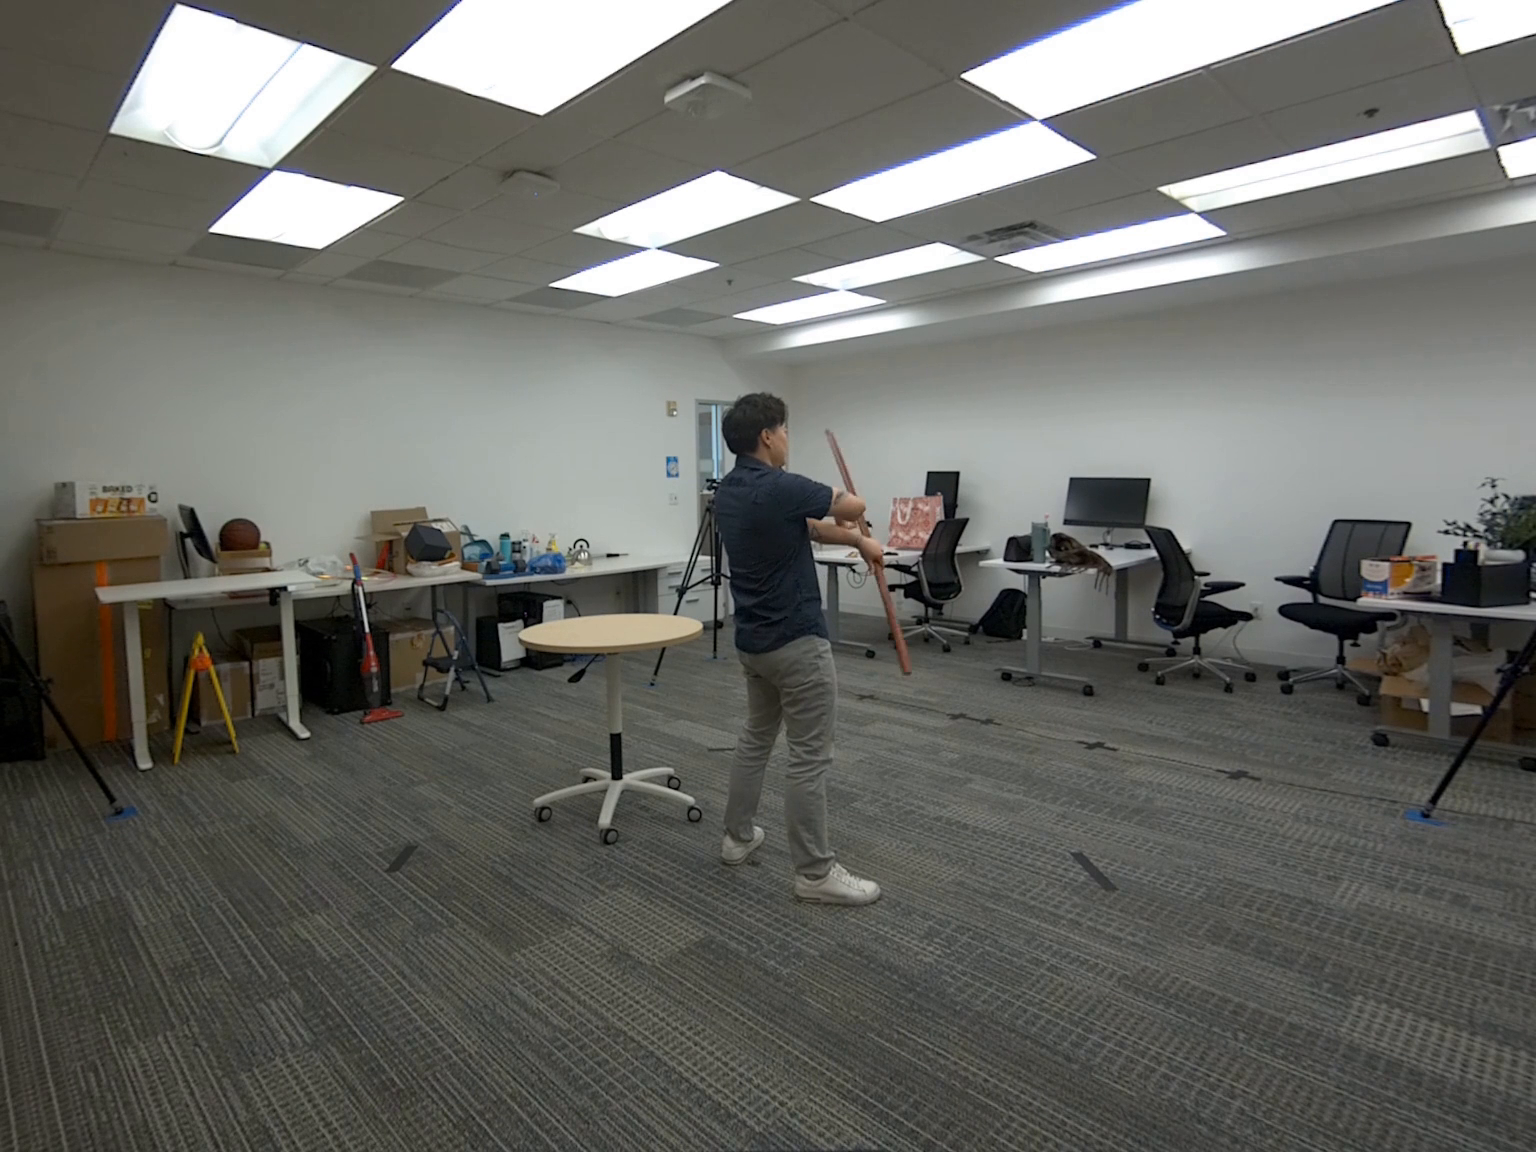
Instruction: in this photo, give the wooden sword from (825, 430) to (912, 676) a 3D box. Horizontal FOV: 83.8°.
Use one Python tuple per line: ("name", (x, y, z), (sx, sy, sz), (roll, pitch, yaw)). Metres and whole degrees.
("wooden sword", (0.370, -0.115, 3.141), (0.050, 1.053, 0.024), (-4, -29, -16))
